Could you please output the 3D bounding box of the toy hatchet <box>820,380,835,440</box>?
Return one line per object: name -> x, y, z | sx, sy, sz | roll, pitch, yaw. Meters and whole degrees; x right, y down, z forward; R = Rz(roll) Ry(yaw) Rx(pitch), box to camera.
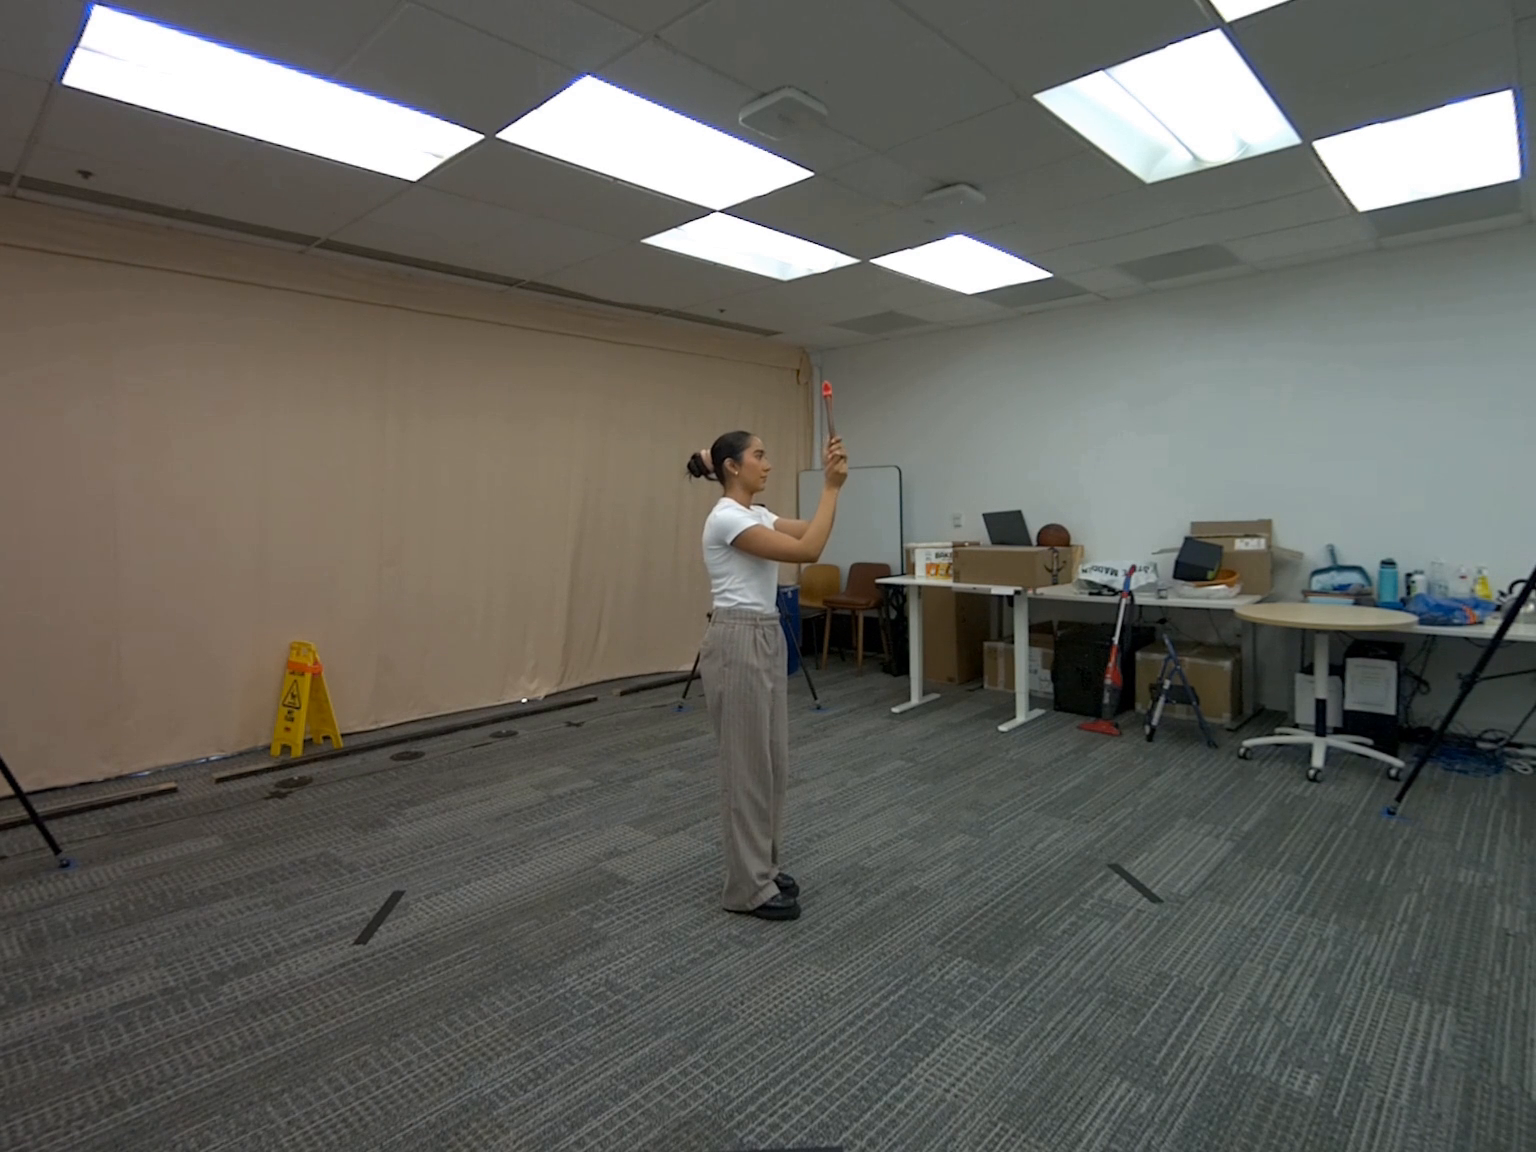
toy hatchet -> 0.214, -0.518, 2.831 | 0.029, 0.270, 0.130 | -7, -2, 1
